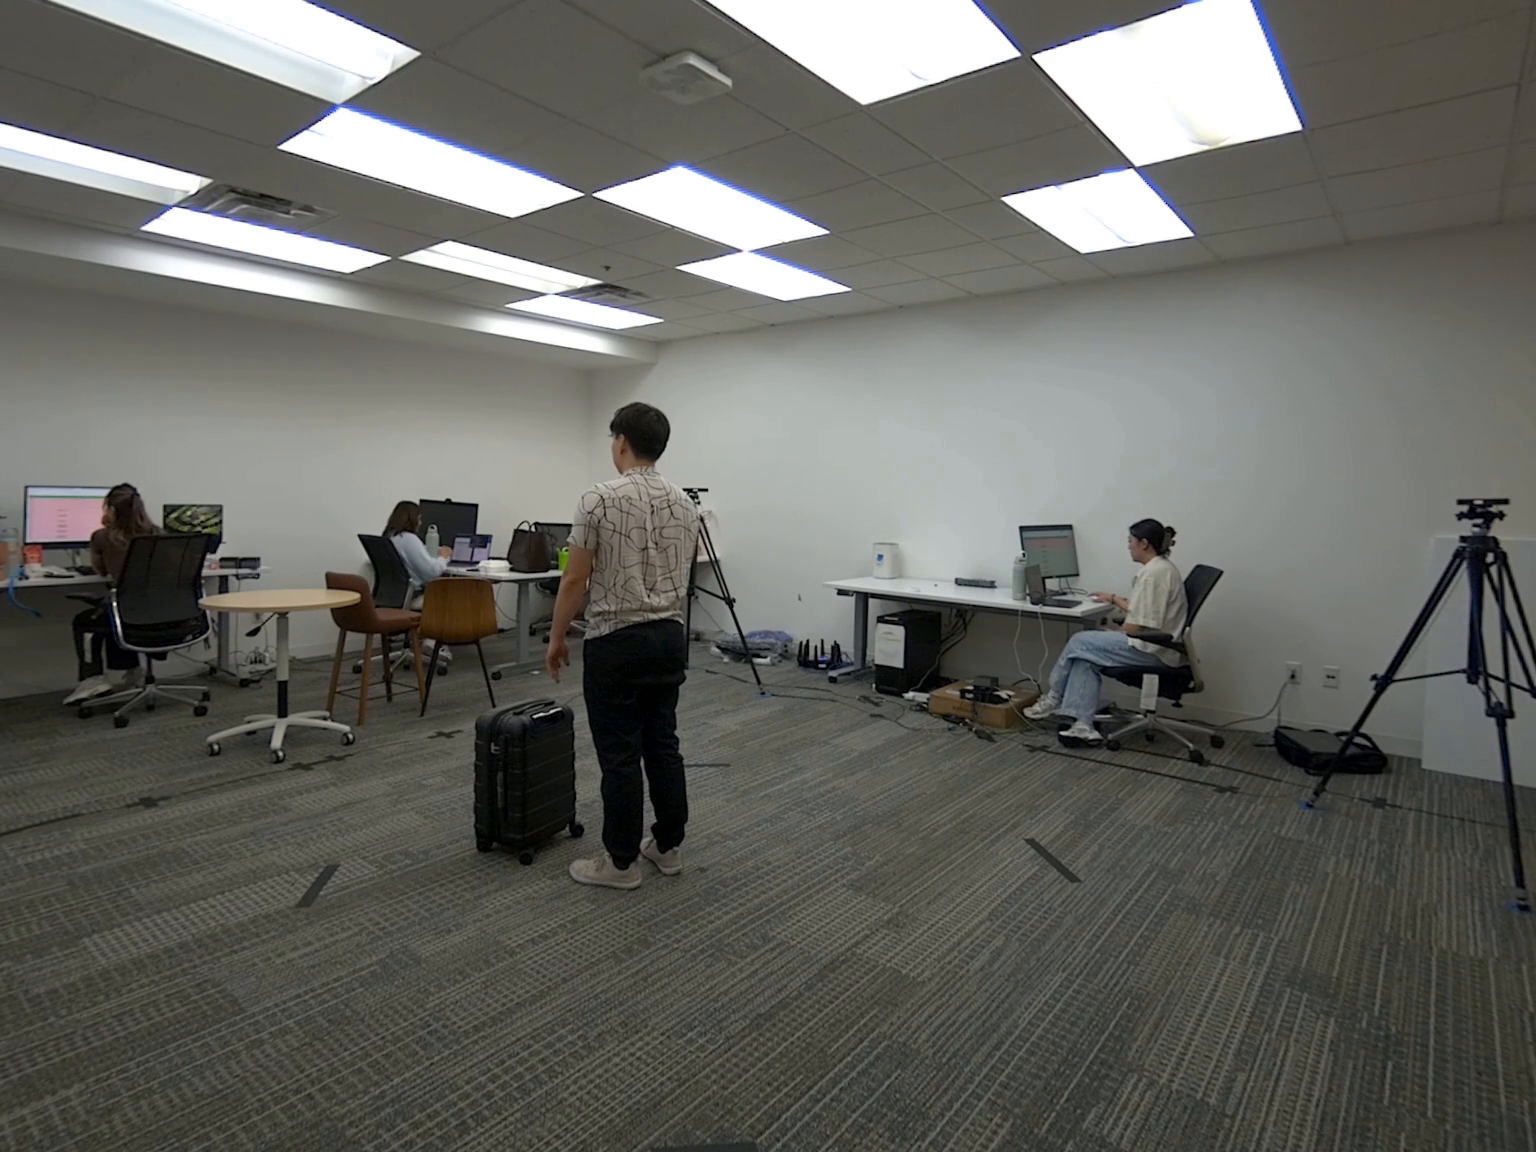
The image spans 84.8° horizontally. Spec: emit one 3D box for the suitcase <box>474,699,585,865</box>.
[{"bbox_3d":[-0.955,0.765,3.303,0.255,0.548,0.366,0,3,30],"label":"suitcase"}]
